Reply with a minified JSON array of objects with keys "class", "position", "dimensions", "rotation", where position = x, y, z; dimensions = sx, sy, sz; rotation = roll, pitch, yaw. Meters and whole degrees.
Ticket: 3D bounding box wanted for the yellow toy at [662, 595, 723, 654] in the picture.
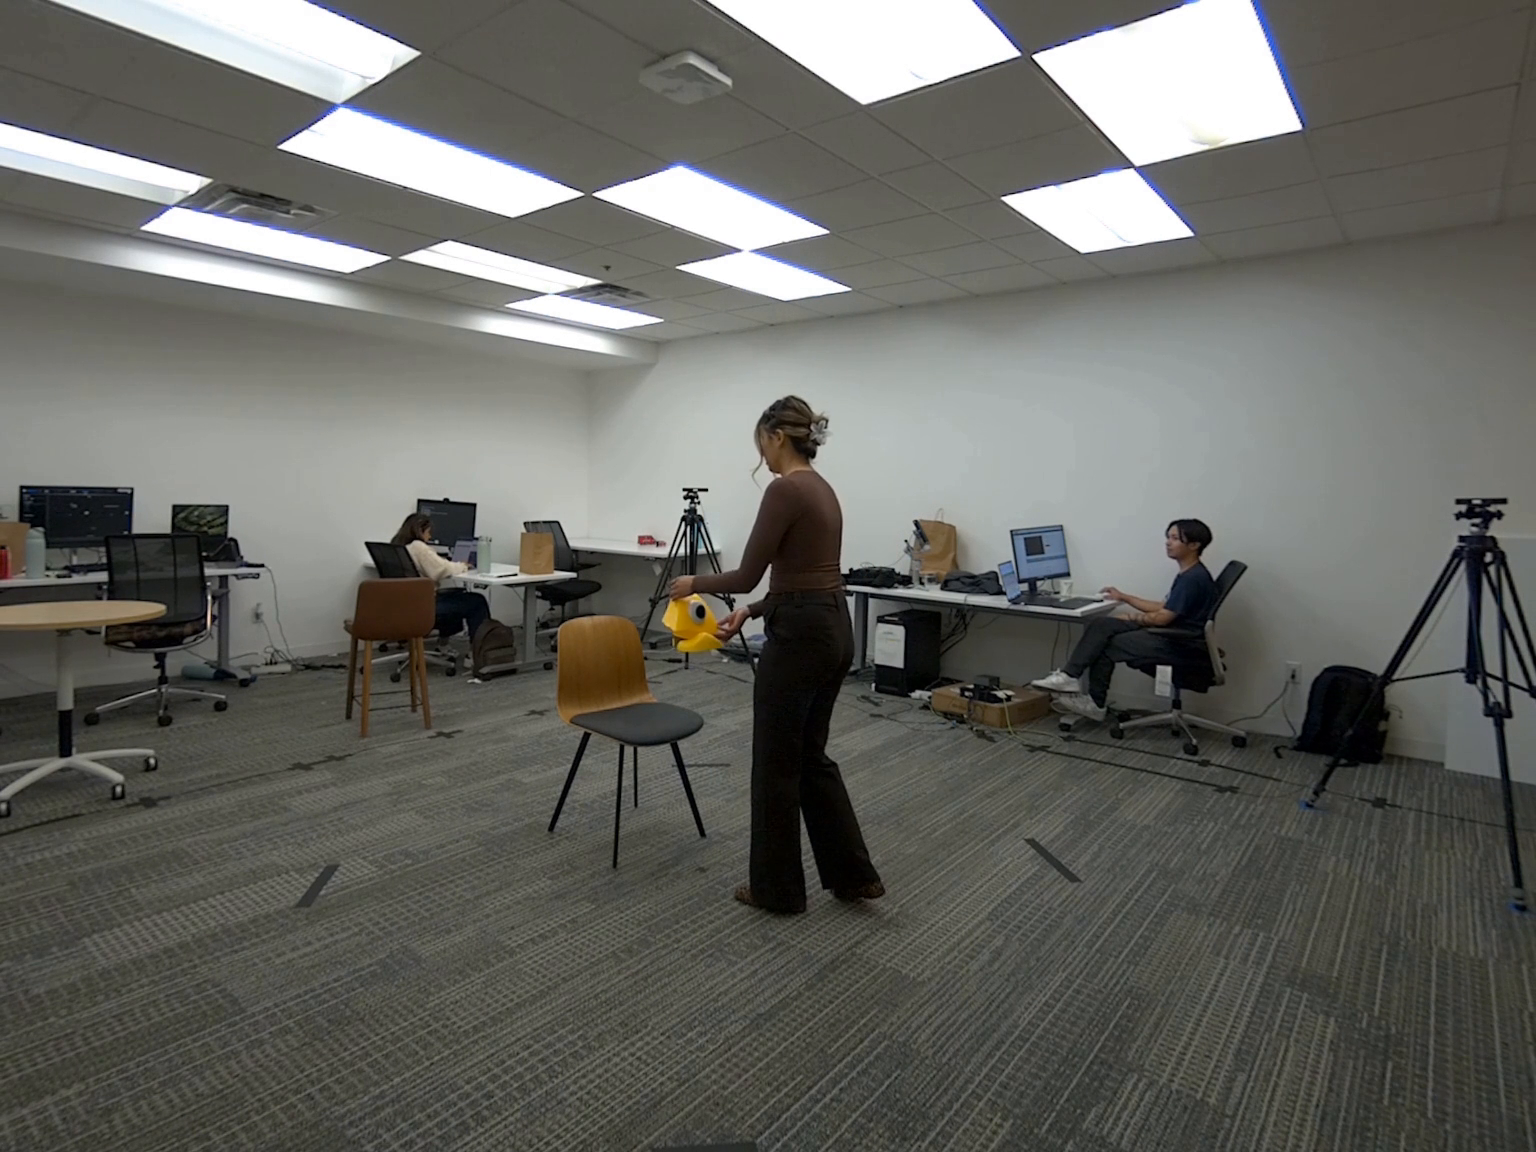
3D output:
[{"class":"yellow toy","position":[-0.265,0.125,2.986],"dimensions":[0.189,0.230,0.209],"rotation":[-4,5,-20]}]
